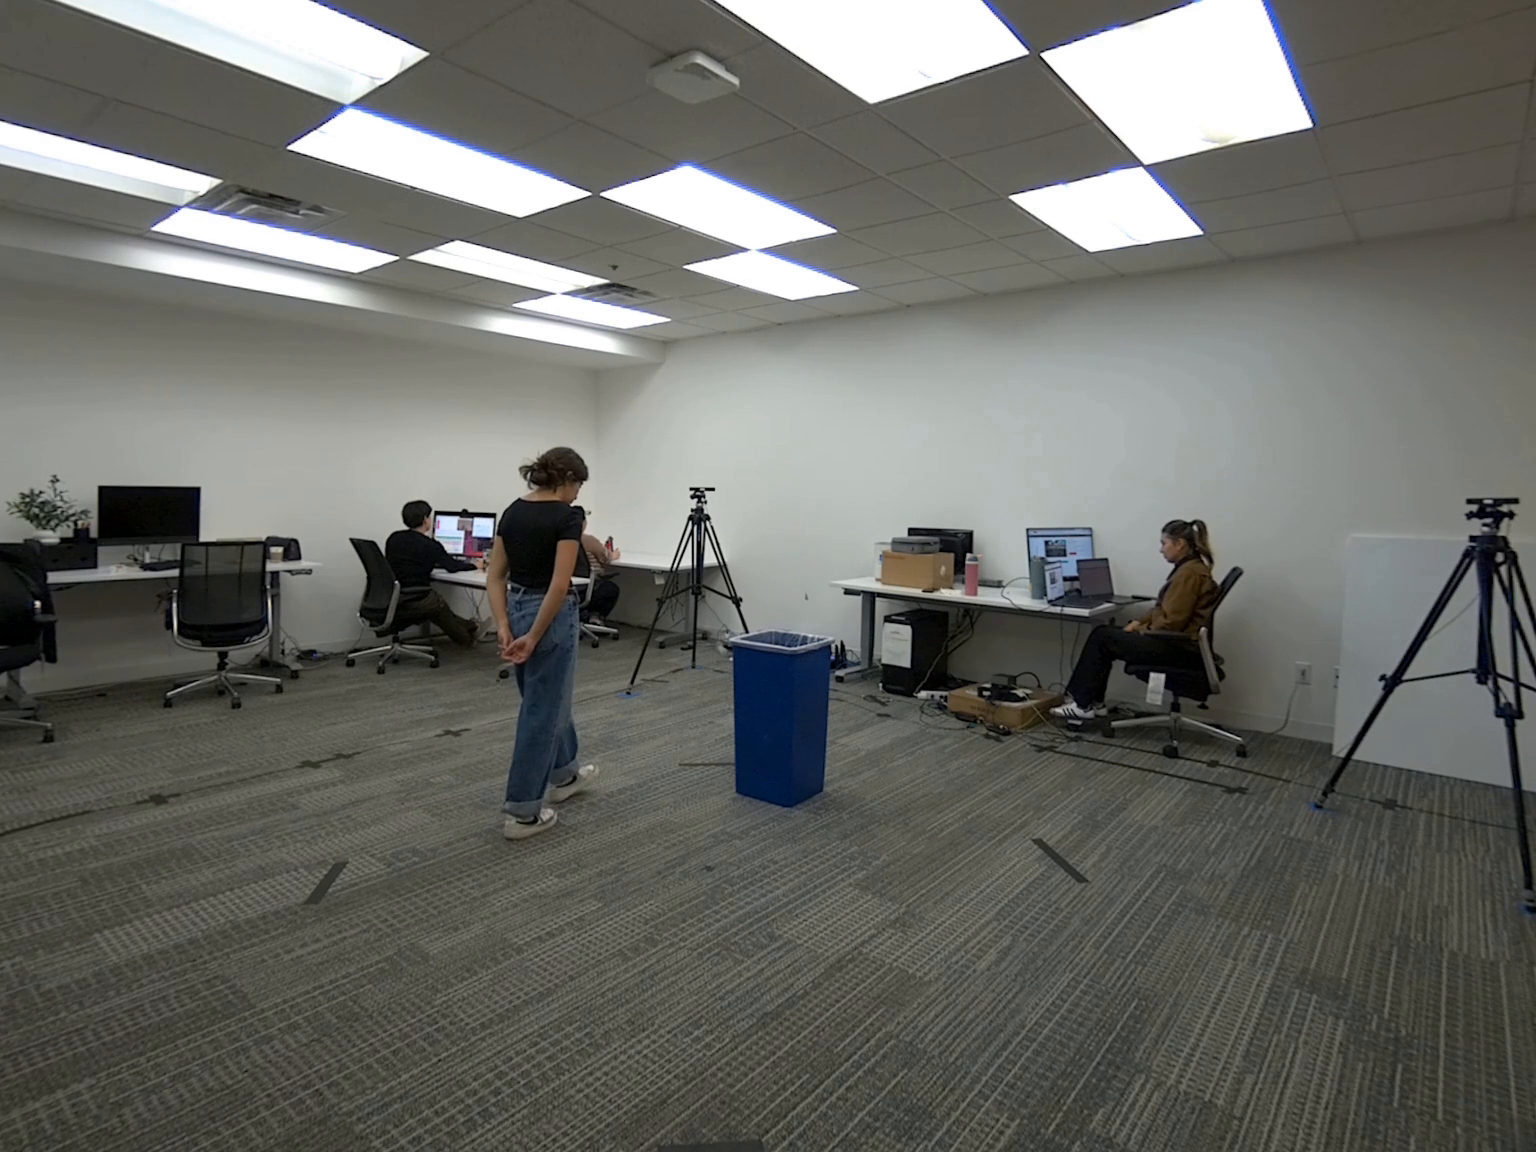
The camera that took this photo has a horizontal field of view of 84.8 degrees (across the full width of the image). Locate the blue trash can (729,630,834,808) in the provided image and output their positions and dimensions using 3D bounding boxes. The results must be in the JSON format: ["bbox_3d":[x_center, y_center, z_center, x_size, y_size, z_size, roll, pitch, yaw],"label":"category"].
[{"bbox_3d":[0.058,0.639,3.907,0.386,0.712,0.367,2,4,36],"label":"blue trash can"}]
